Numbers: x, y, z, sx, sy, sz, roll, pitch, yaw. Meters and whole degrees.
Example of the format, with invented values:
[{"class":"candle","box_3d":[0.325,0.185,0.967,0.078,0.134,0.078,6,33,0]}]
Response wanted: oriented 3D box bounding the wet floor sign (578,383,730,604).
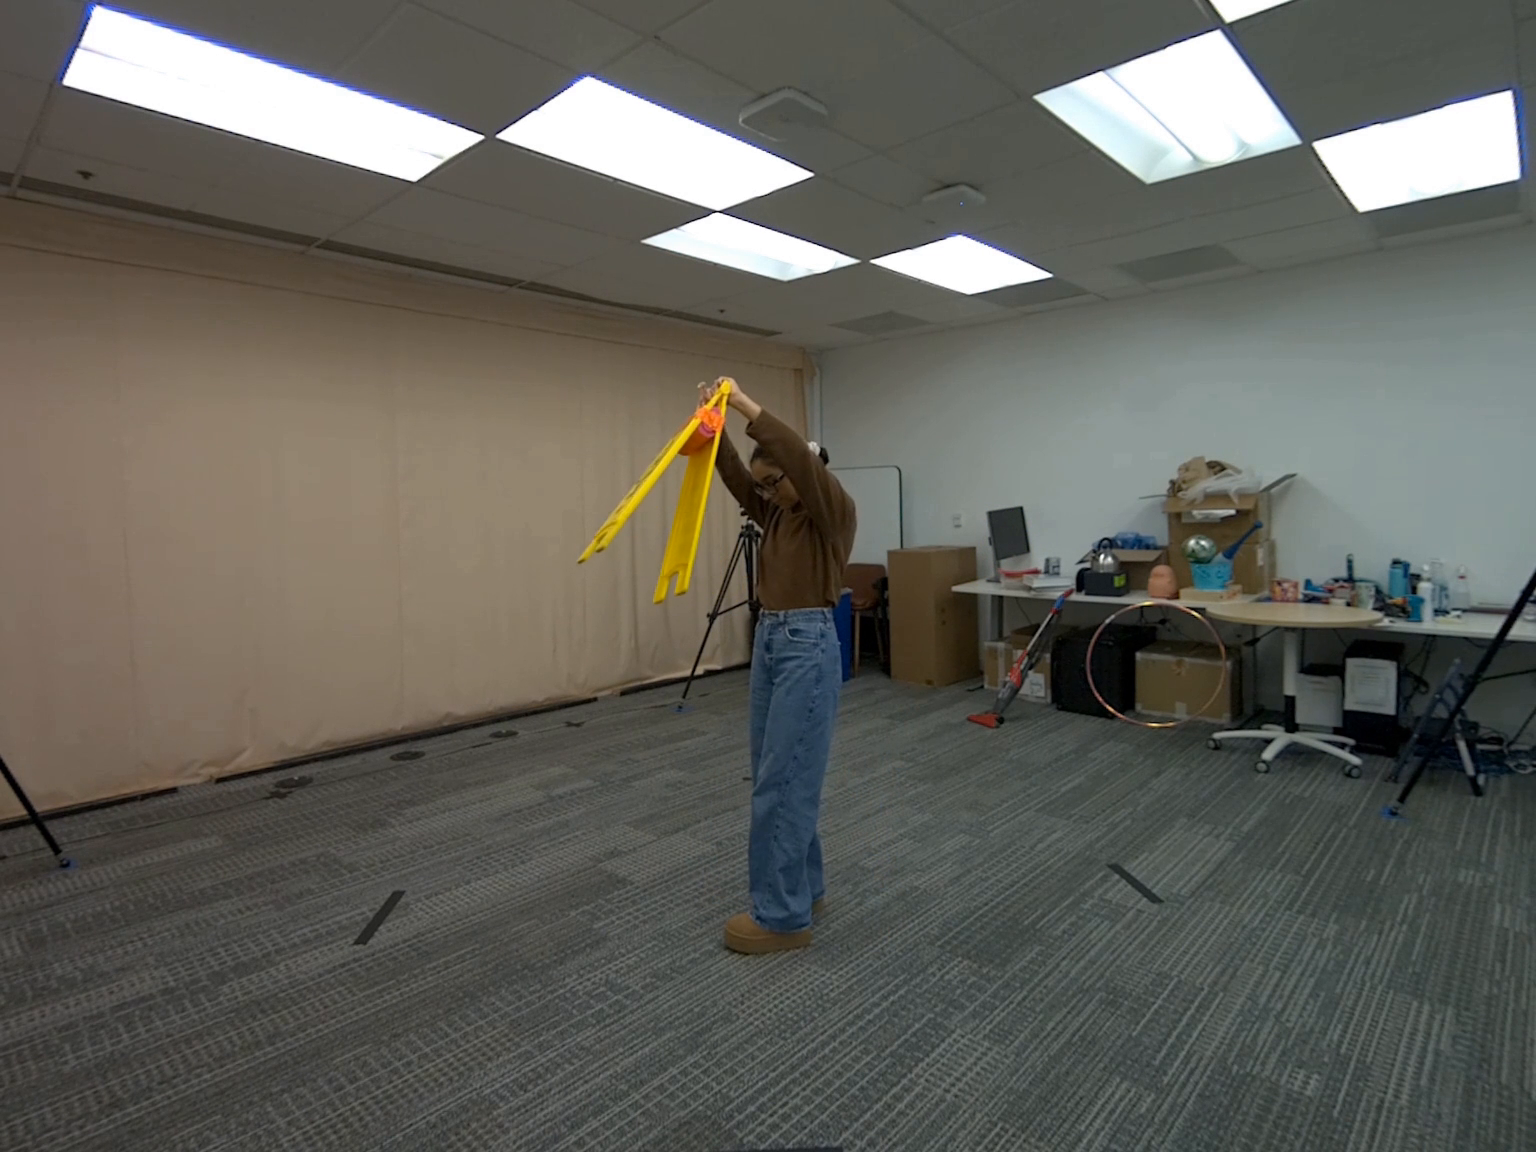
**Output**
[{"class":"wet floor sign","box_3d":[-0.270,-0.278,2.467,0.284,0.648,0.287,28,-20,-17]}]
